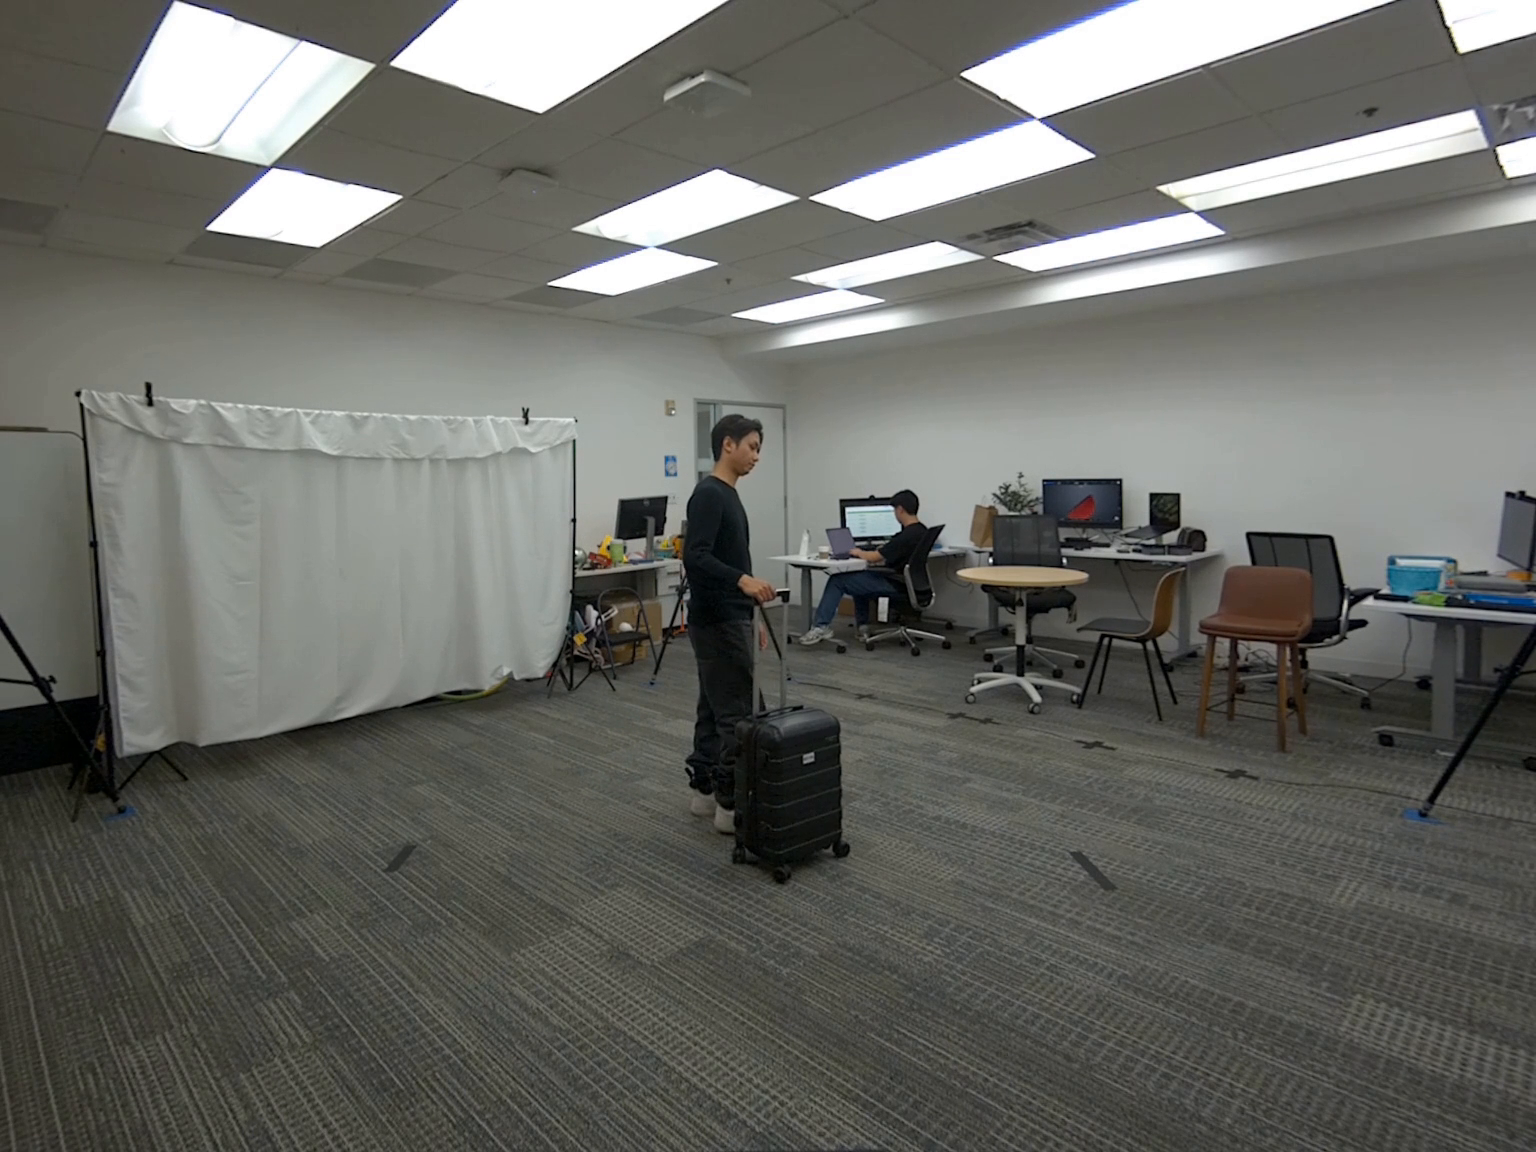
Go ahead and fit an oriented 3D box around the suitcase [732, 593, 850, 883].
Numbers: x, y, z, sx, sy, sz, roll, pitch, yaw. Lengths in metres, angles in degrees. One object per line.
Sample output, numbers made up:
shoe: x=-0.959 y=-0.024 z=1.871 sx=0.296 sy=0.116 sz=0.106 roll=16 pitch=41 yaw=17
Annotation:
suitcase: x=0.084 y=0.565 z=3.098 sx=0.374 sy=0.974 sz=0.265 roll=-4 pitch=6 yaw=-41
